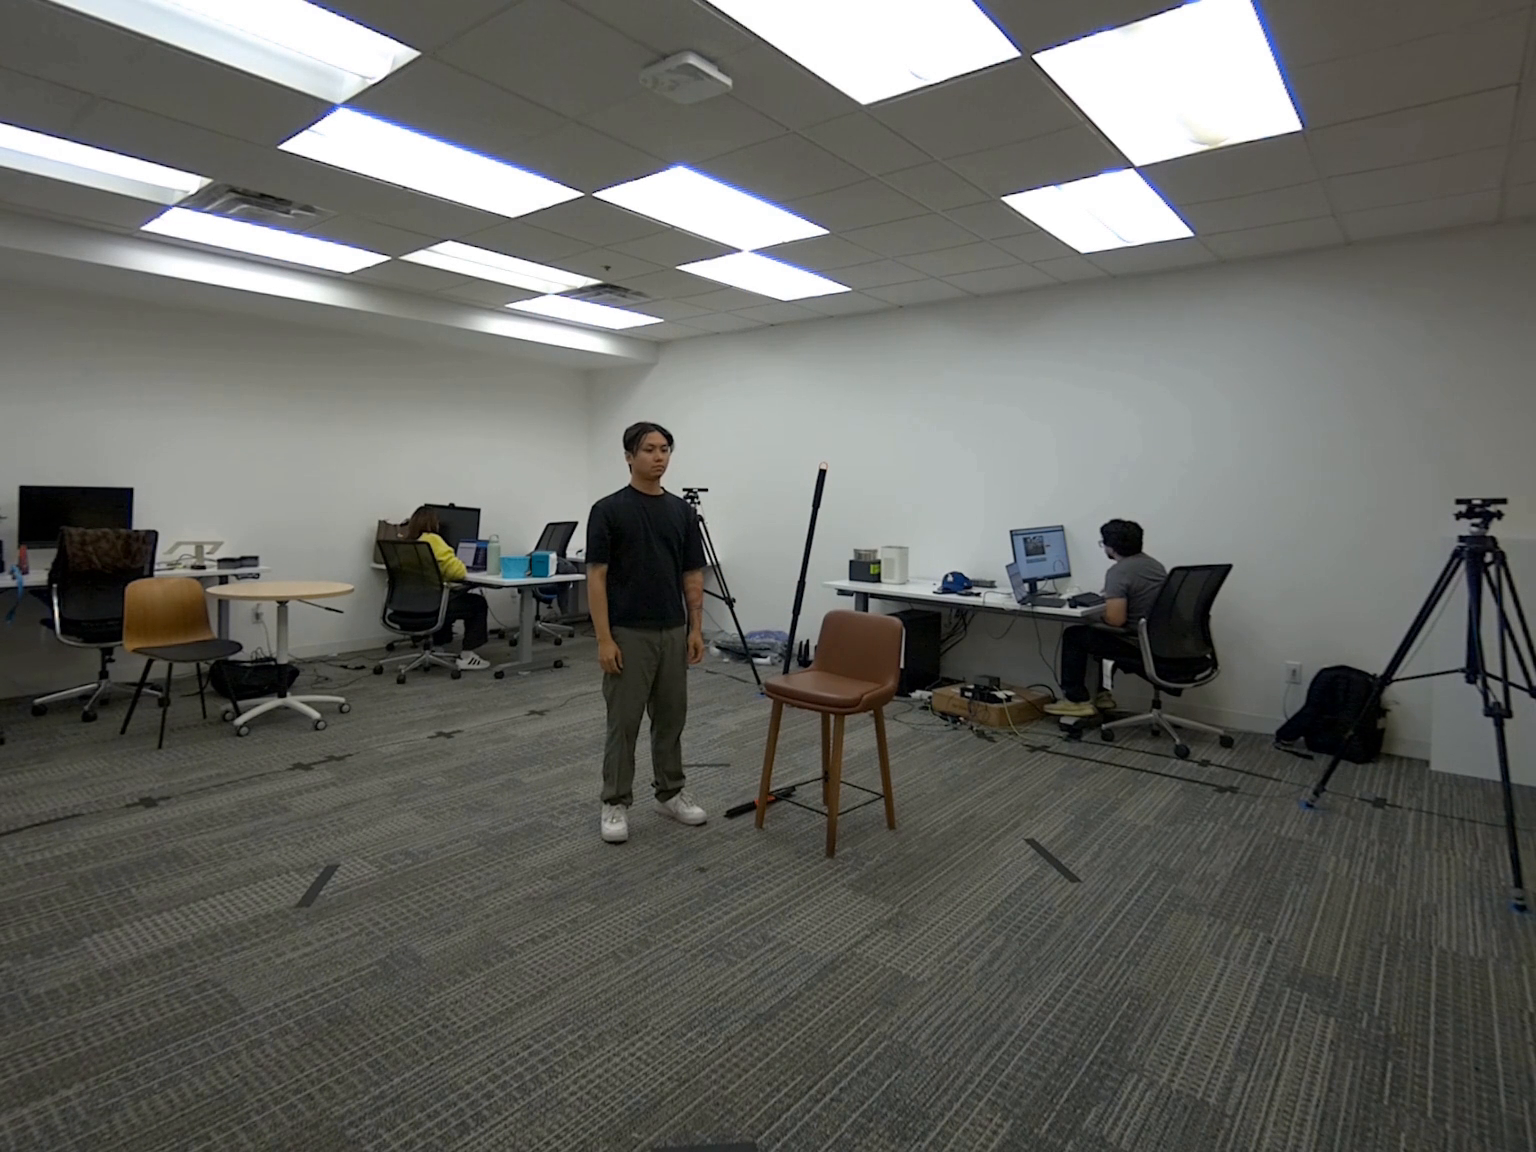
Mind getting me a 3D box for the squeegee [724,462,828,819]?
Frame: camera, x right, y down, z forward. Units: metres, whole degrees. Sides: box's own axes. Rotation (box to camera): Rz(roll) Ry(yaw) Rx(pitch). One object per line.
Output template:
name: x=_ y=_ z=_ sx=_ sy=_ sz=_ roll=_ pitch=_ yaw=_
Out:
squeegee: x=0.090 y=0.265 z=3.620 sx=0.424 sy=1.529 sz=0.055 roll=4 pitch=8 yaw=-34
